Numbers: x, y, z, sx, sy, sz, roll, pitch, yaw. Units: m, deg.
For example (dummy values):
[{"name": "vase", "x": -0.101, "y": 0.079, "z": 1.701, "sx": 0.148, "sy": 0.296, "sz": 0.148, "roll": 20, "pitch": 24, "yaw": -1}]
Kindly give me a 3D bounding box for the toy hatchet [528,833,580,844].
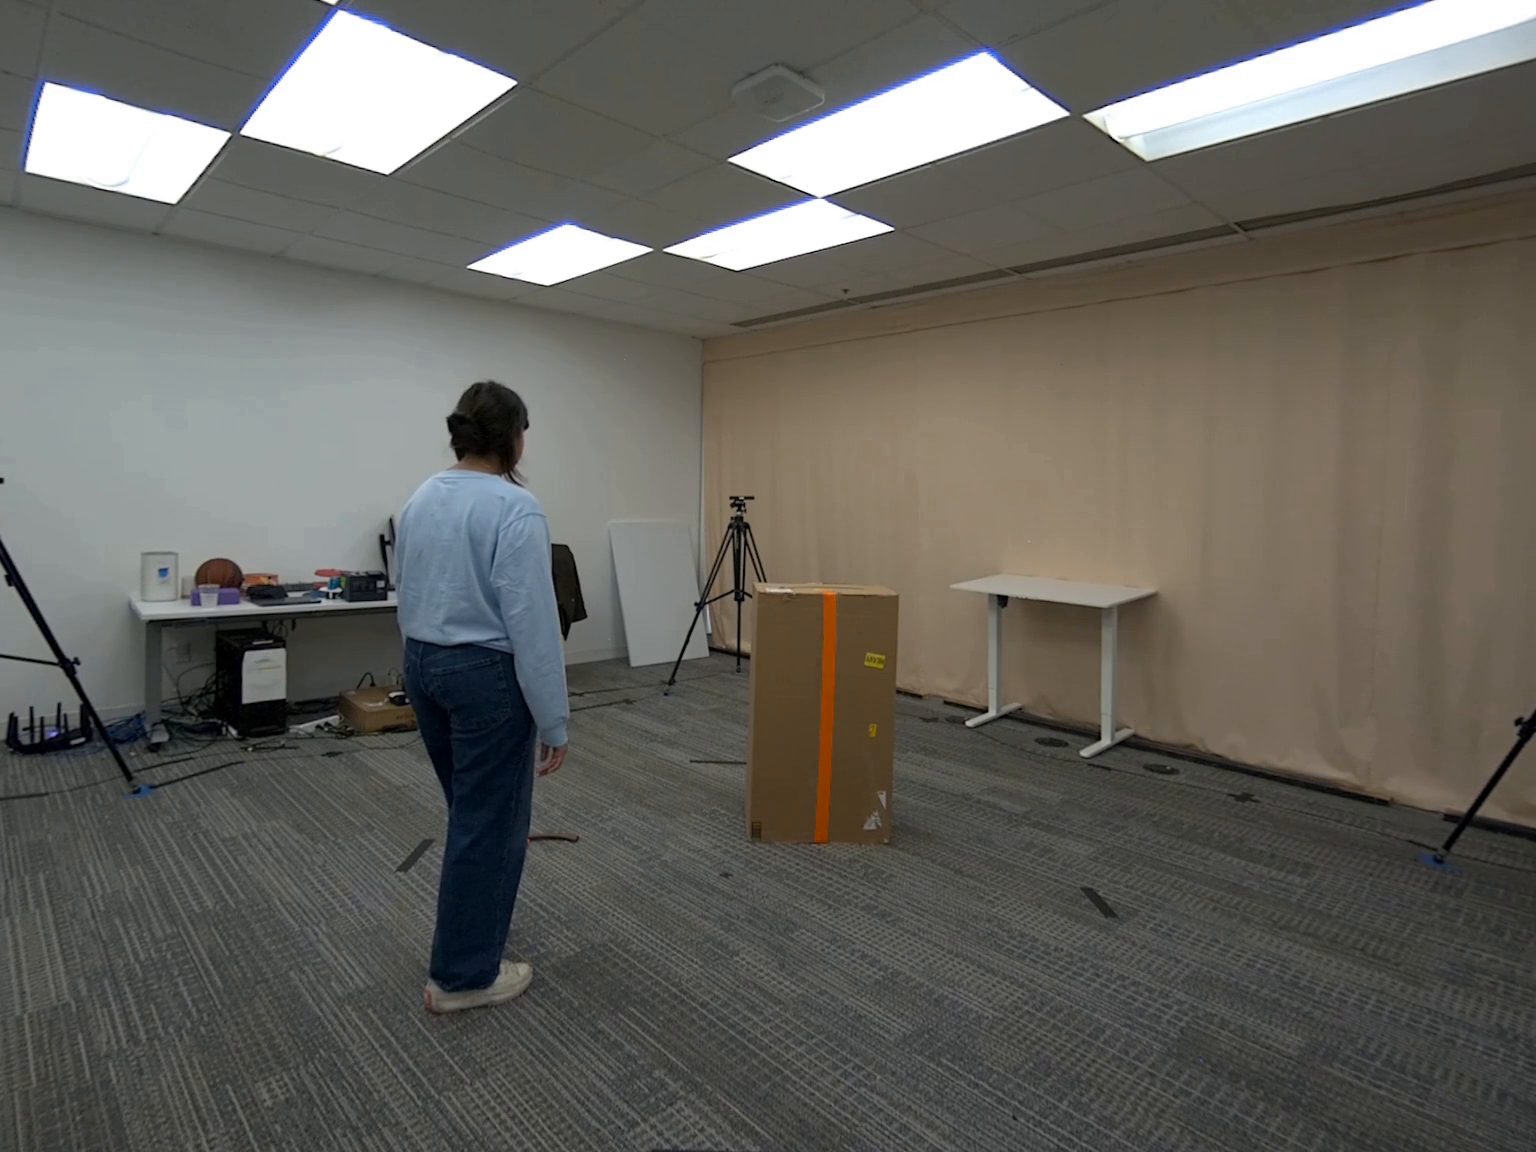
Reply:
[{"name": "toy hatchet", "x": -0.907, "y": 1.054, "z": 3.355, "sx": 0.272, "sy": 0.029, "sz": 0.130, "roll": 2, "pitch": 4, "yaw": 10}]
